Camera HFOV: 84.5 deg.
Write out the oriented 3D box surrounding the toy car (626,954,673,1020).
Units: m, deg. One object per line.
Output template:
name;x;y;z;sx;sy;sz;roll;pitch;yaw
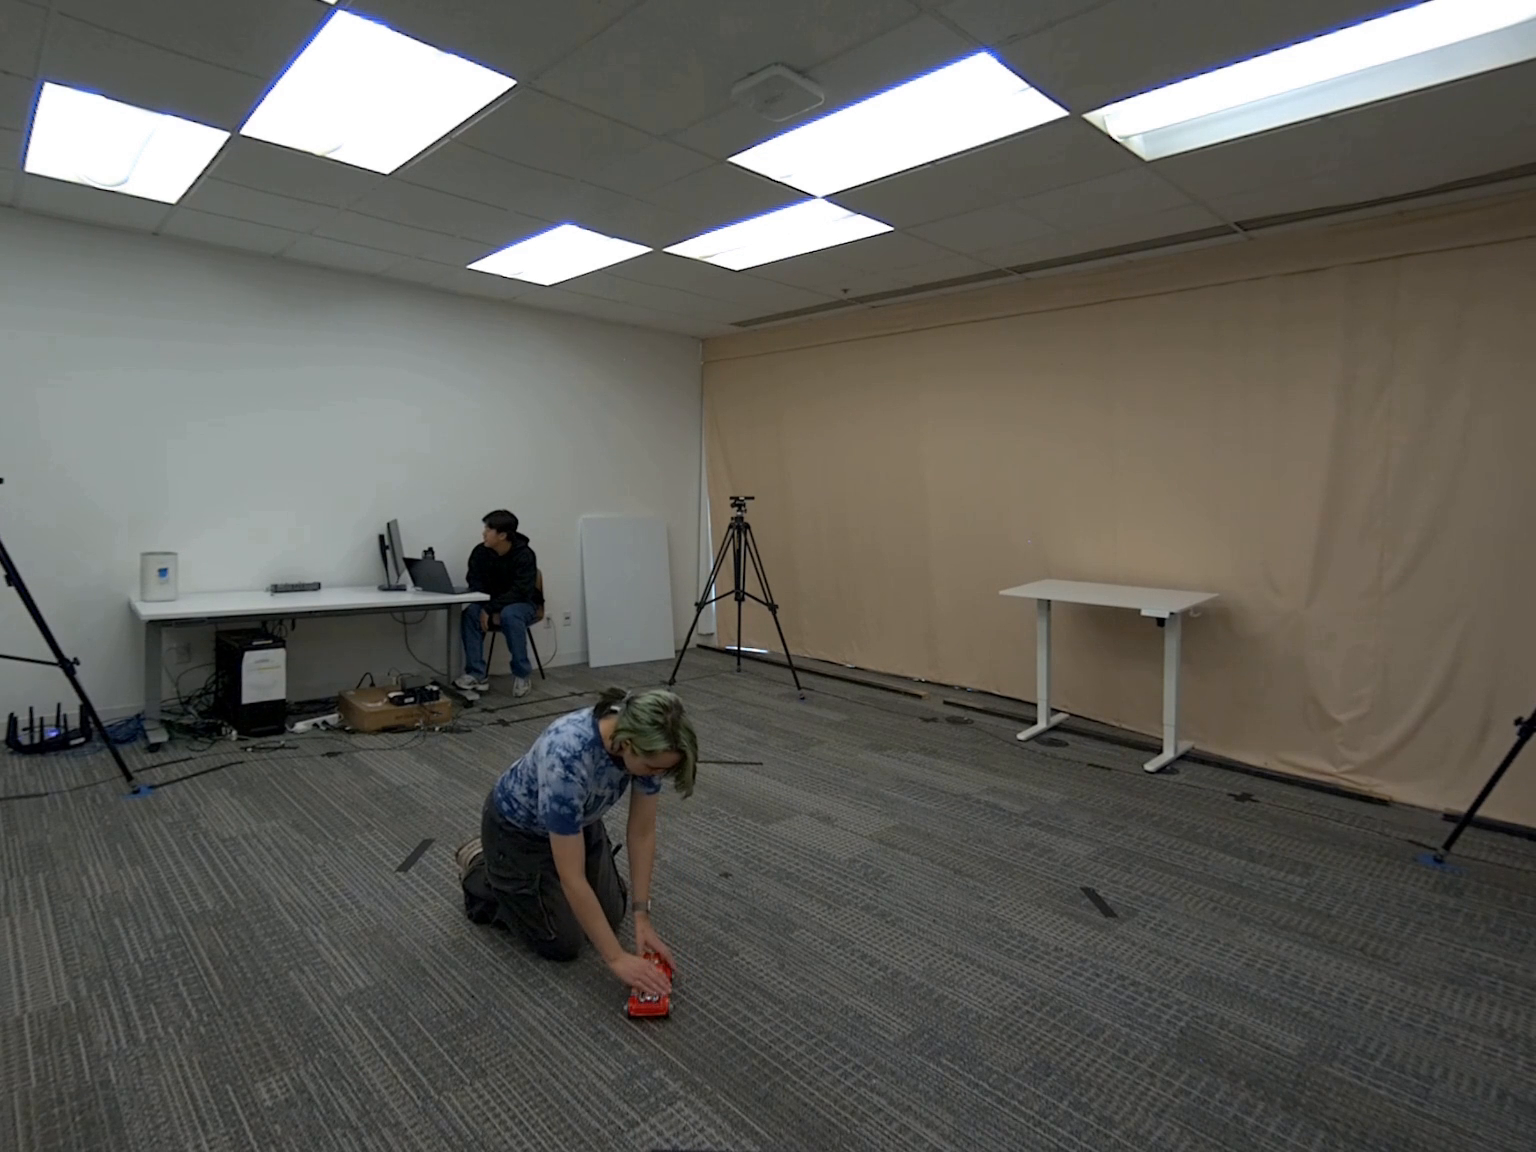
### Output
toy car;-0.338;1.143;2.333;0.130;0.082;0.258;-1;16;-6
